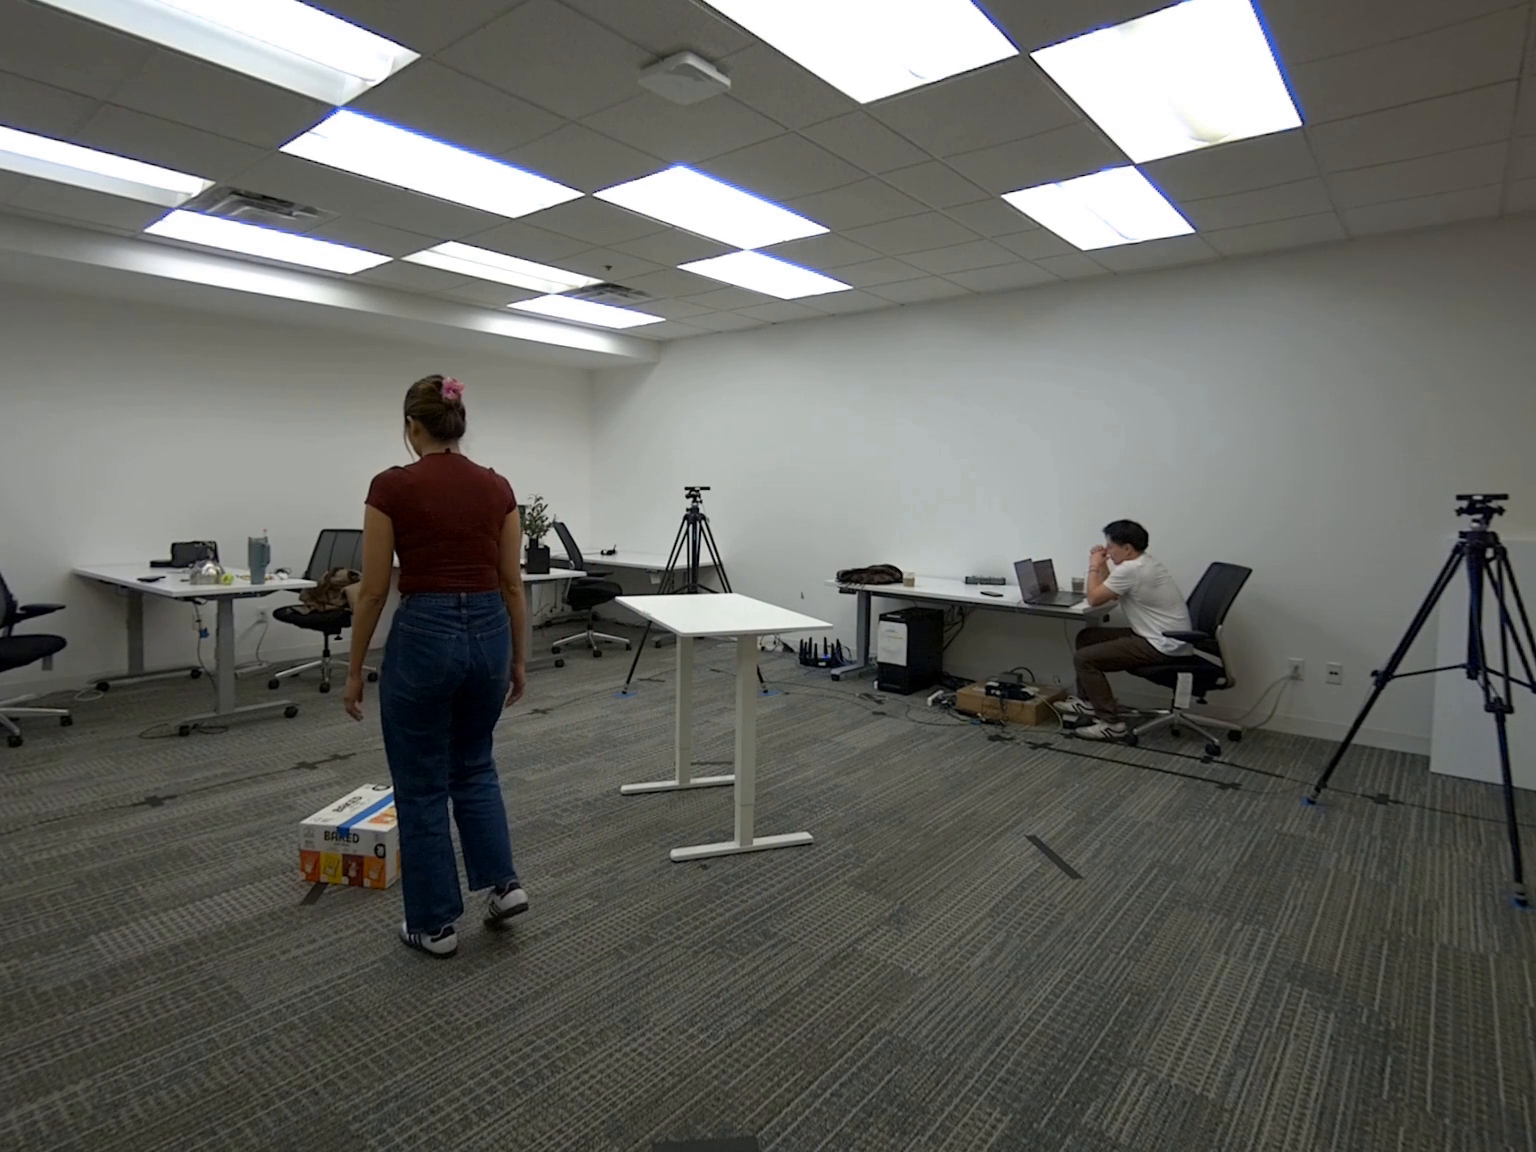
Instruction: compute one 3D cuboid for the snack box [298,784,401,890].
[{"bbox_3d":[-1.466,0.948,3.133,0.344,0.205,0.403,2,6,9],"label":"snack box"}]
